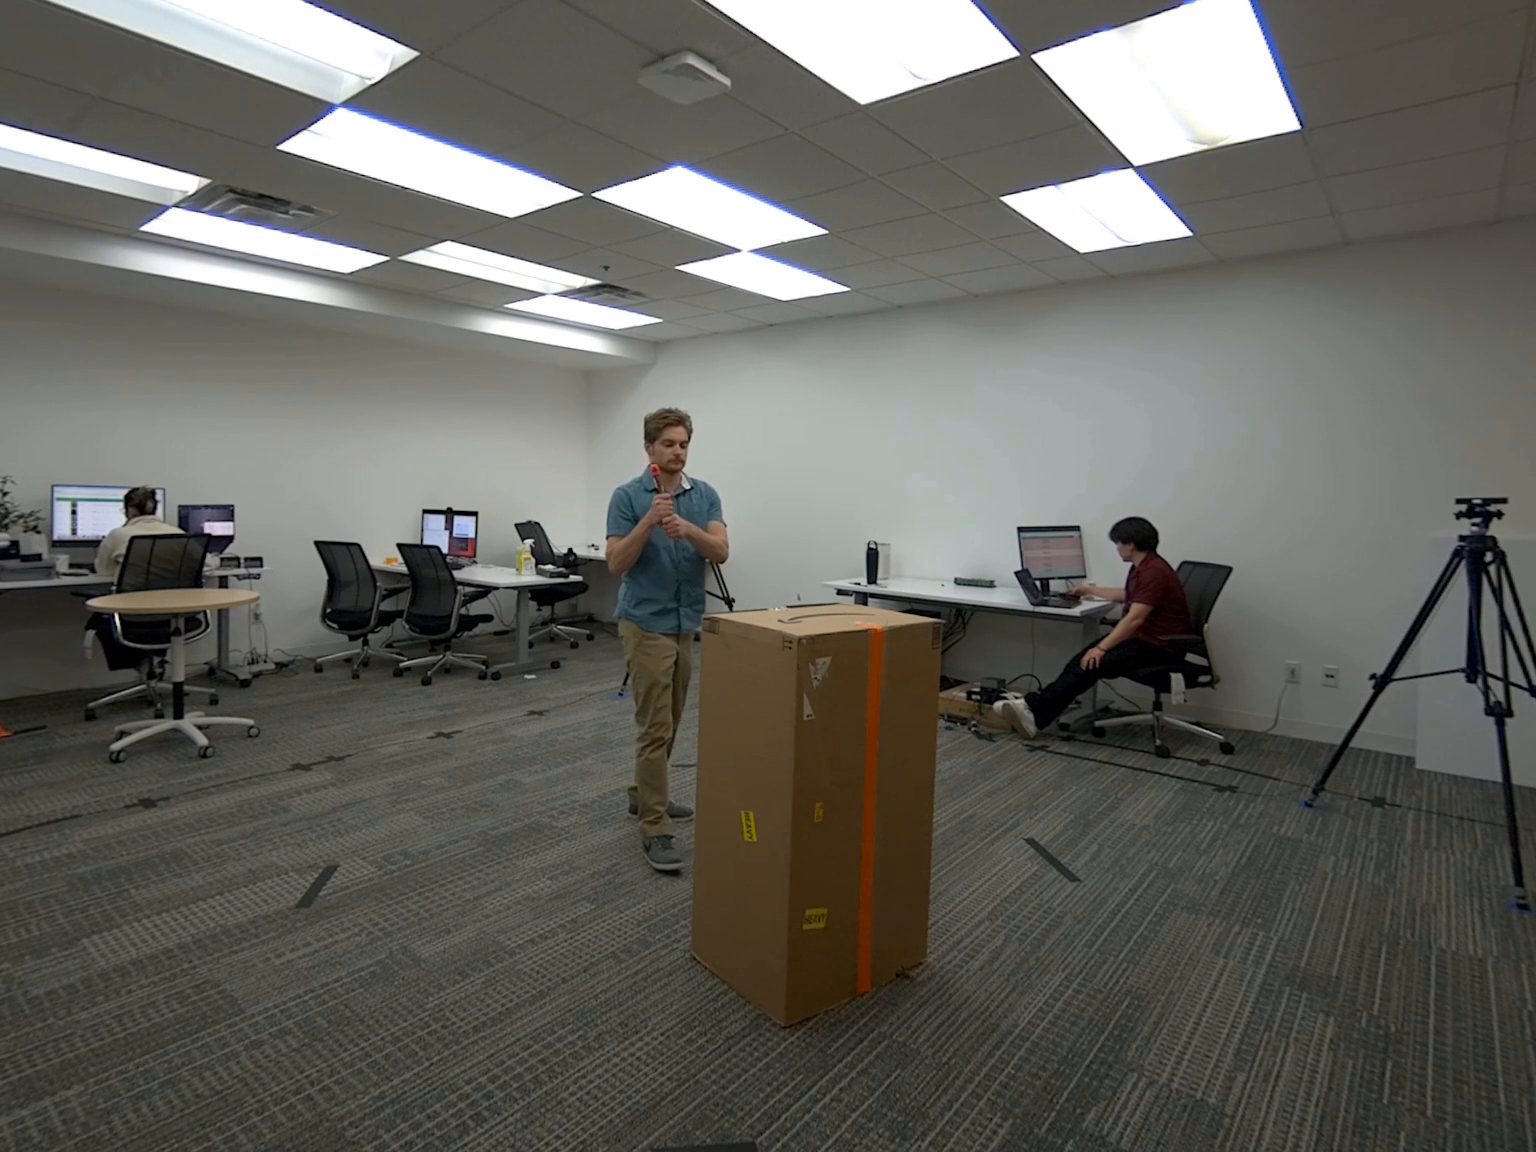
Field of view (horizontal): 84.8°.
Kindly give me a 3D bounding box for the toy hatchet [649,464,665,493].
[{"bbox_3d":[-0.403,-0.291,3.171,0.029,0.267,0.134,-12,10,-14],"label":"toy hatchet"}]
